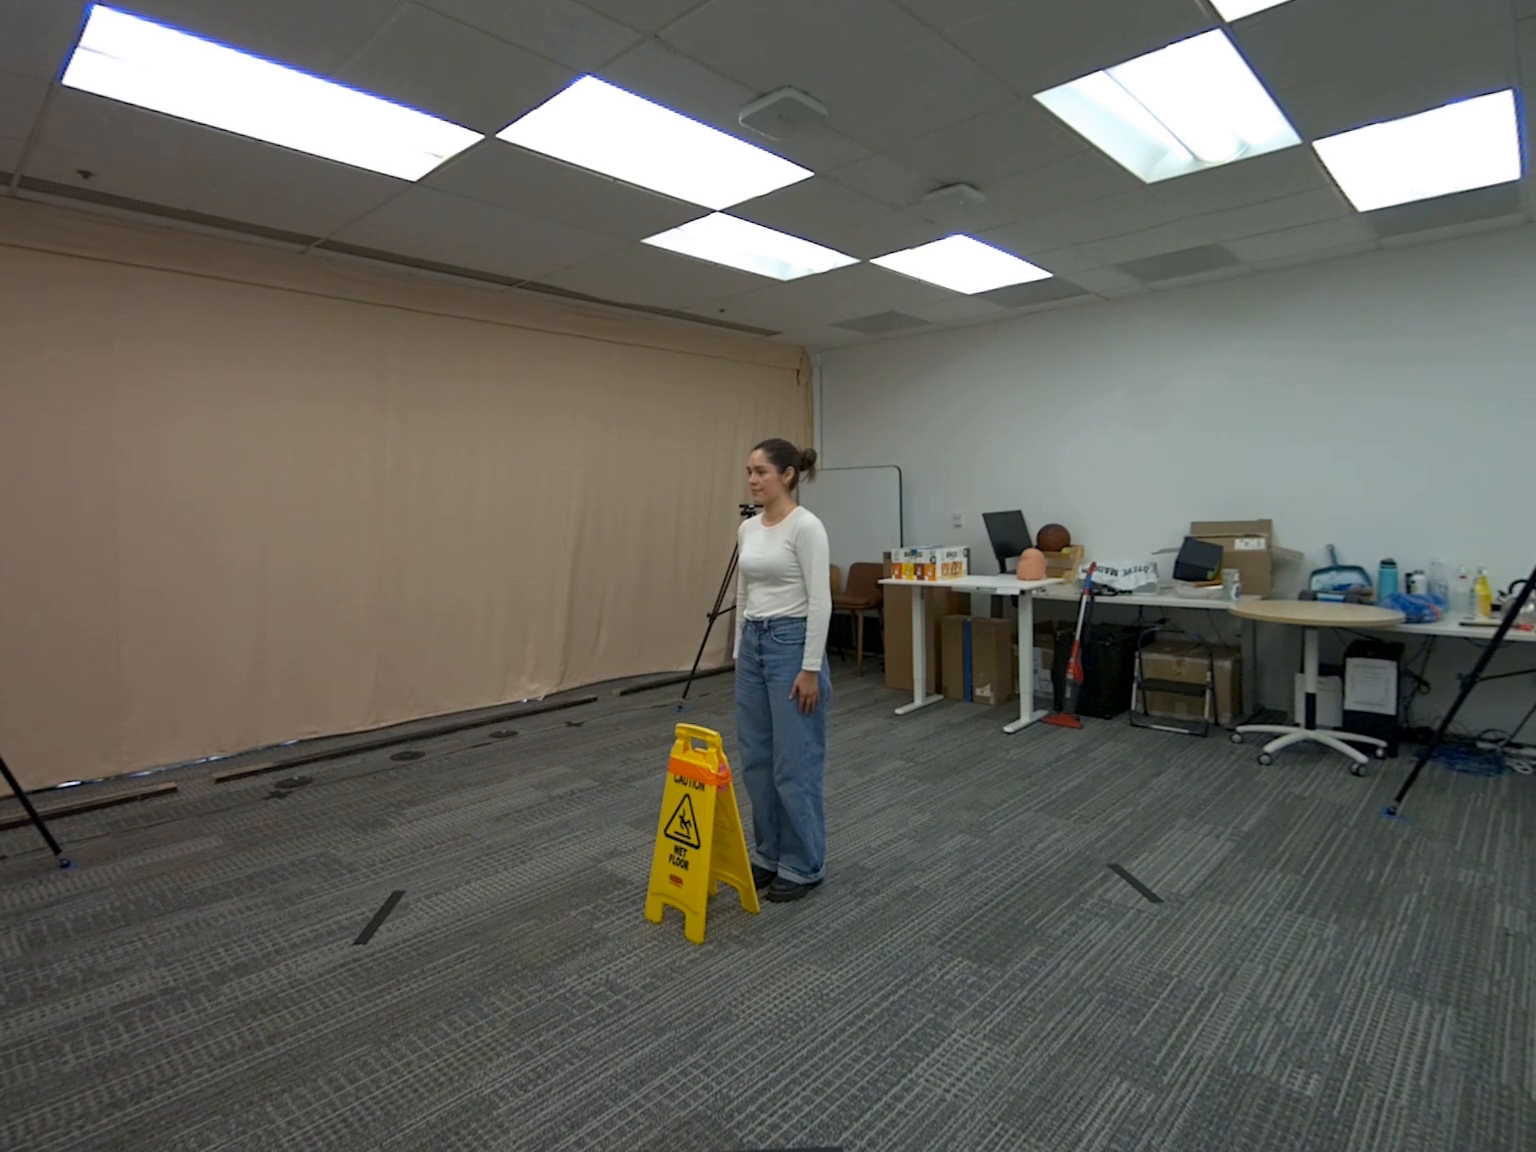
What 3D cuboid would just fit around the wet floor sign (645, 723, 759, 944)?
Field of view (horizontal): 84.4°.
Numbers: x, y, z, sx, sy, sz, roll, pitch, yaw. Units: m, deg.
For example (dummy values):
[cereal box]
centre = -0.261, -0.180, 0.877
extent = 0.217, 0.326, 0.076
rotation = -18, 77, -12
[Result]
[wet floor sign]
centre = -0.227, 0.832, 2.844
extent = 0.291, 0.644, 0.281
rotation = 1, 5, 43
